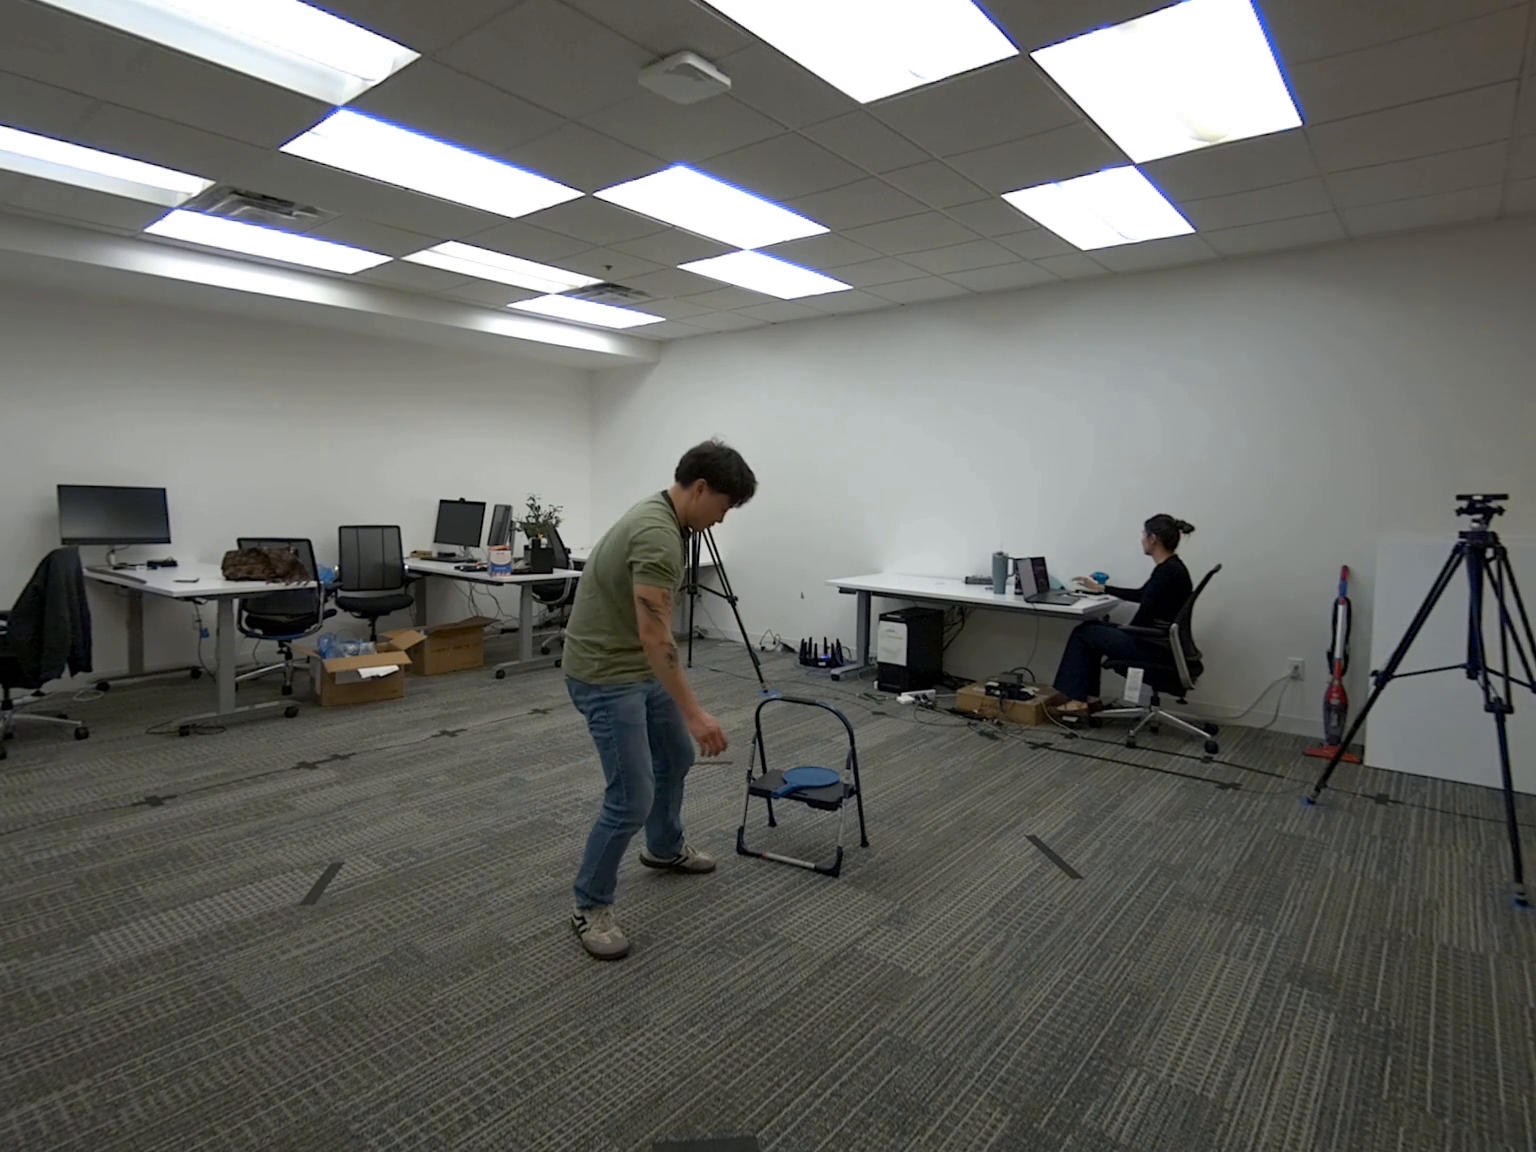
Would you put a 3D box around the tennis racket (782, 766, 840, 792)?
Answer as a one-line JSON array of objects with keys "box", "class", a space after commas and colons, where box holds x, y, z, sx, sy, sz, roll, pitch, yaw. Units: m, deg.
[{"box": [0.124, 0.785, 3.267, 0.220, 0.032, 0.421, 5, 4, 28], "class": "tennis racket"}]
